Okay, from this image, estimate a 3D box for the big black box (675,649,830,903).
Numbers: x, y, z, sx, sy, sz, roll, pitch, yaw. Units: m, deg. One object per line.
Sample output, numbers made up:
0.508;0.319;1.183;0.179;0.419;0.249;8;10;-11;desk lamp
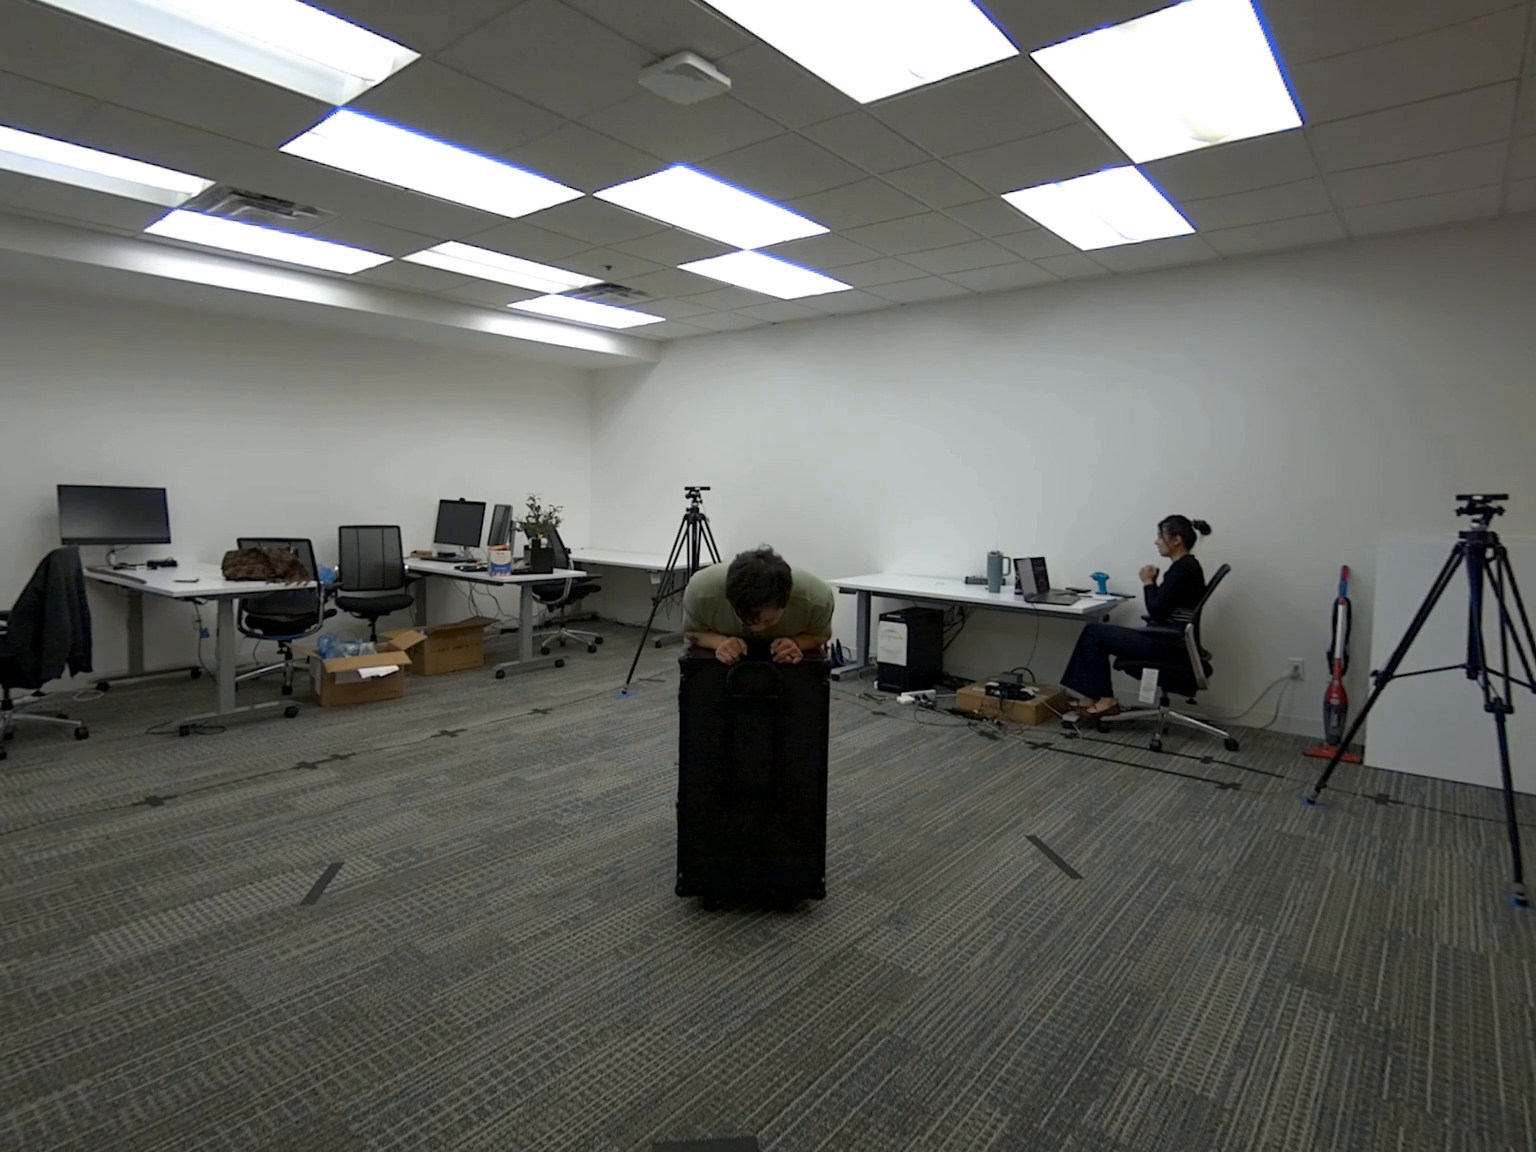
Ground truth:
-0.056;0.674;2.882;0.520;0.858;0.399;1;5;-2;big black box
